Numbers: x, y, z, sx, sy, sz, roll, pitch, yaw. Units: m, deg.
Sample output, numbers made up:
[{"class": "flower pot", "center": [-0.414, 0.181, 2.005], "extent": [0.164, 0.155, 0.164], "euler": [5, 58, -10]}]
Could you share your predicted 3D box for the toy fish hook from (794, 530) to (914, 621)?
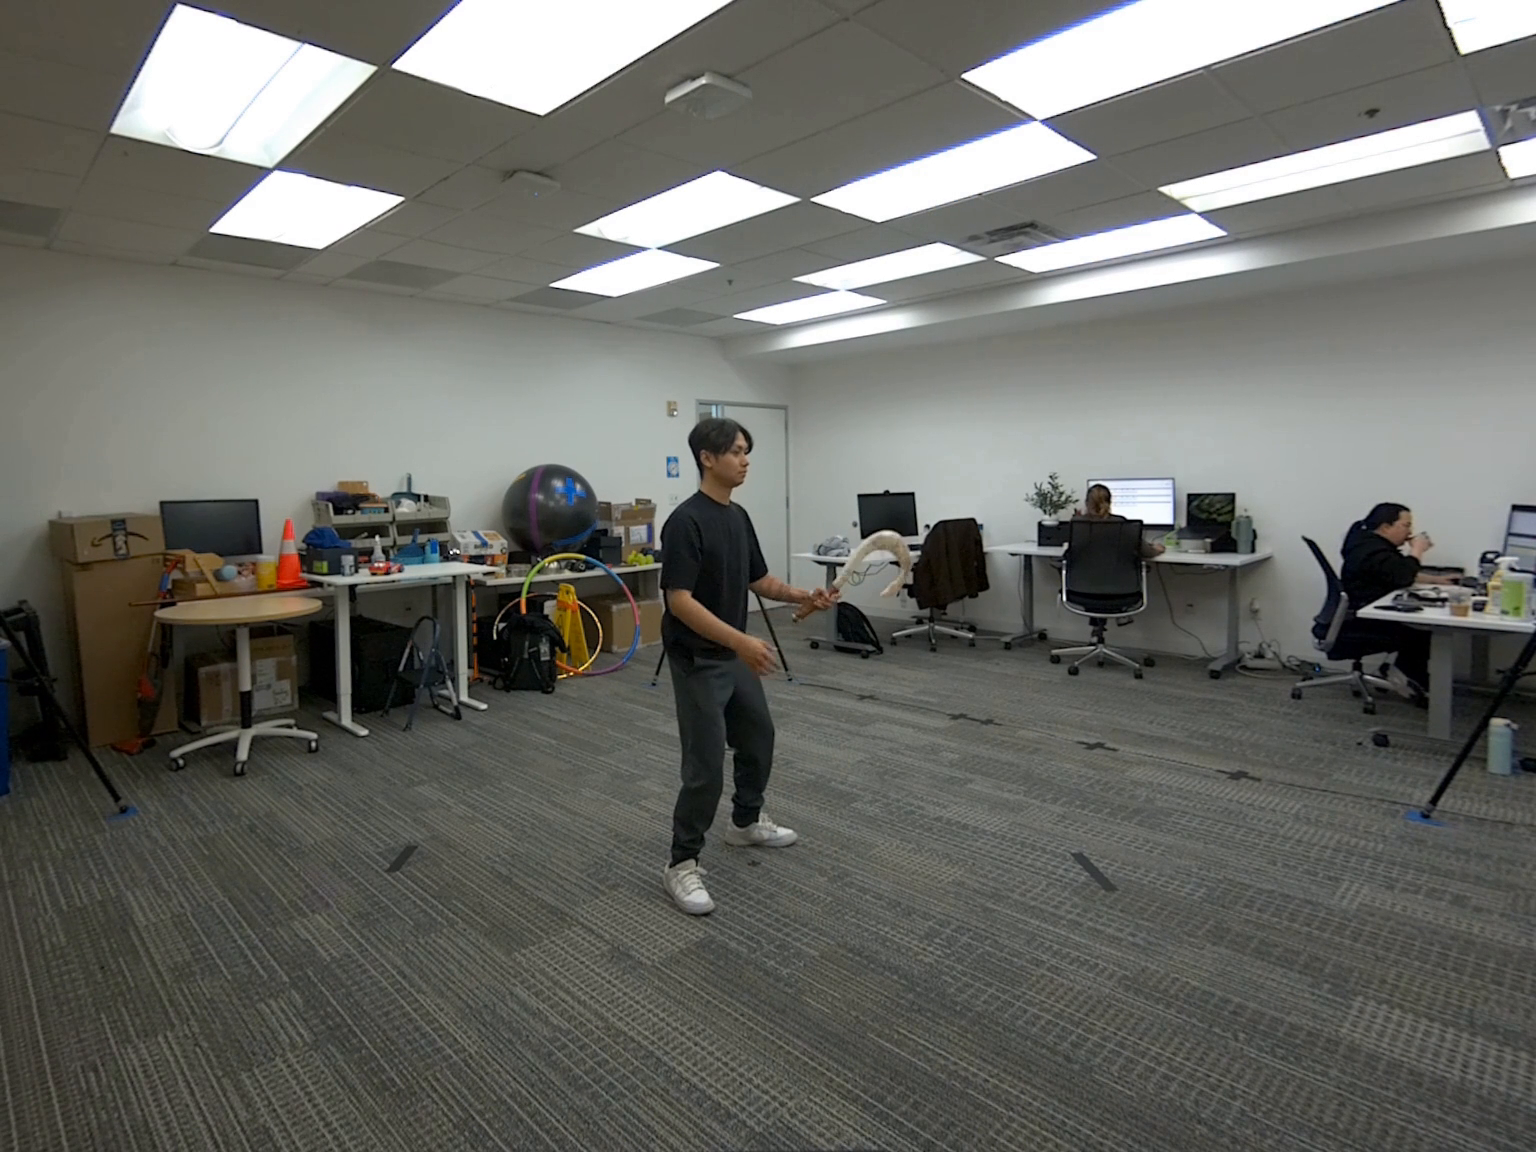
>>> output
[{"class": "toy fish hook", "center": [0.298, 0.030, 3.098], "extent": [0.506, 0.224, 0.048], "euler": [-38, 1, -6]}]
